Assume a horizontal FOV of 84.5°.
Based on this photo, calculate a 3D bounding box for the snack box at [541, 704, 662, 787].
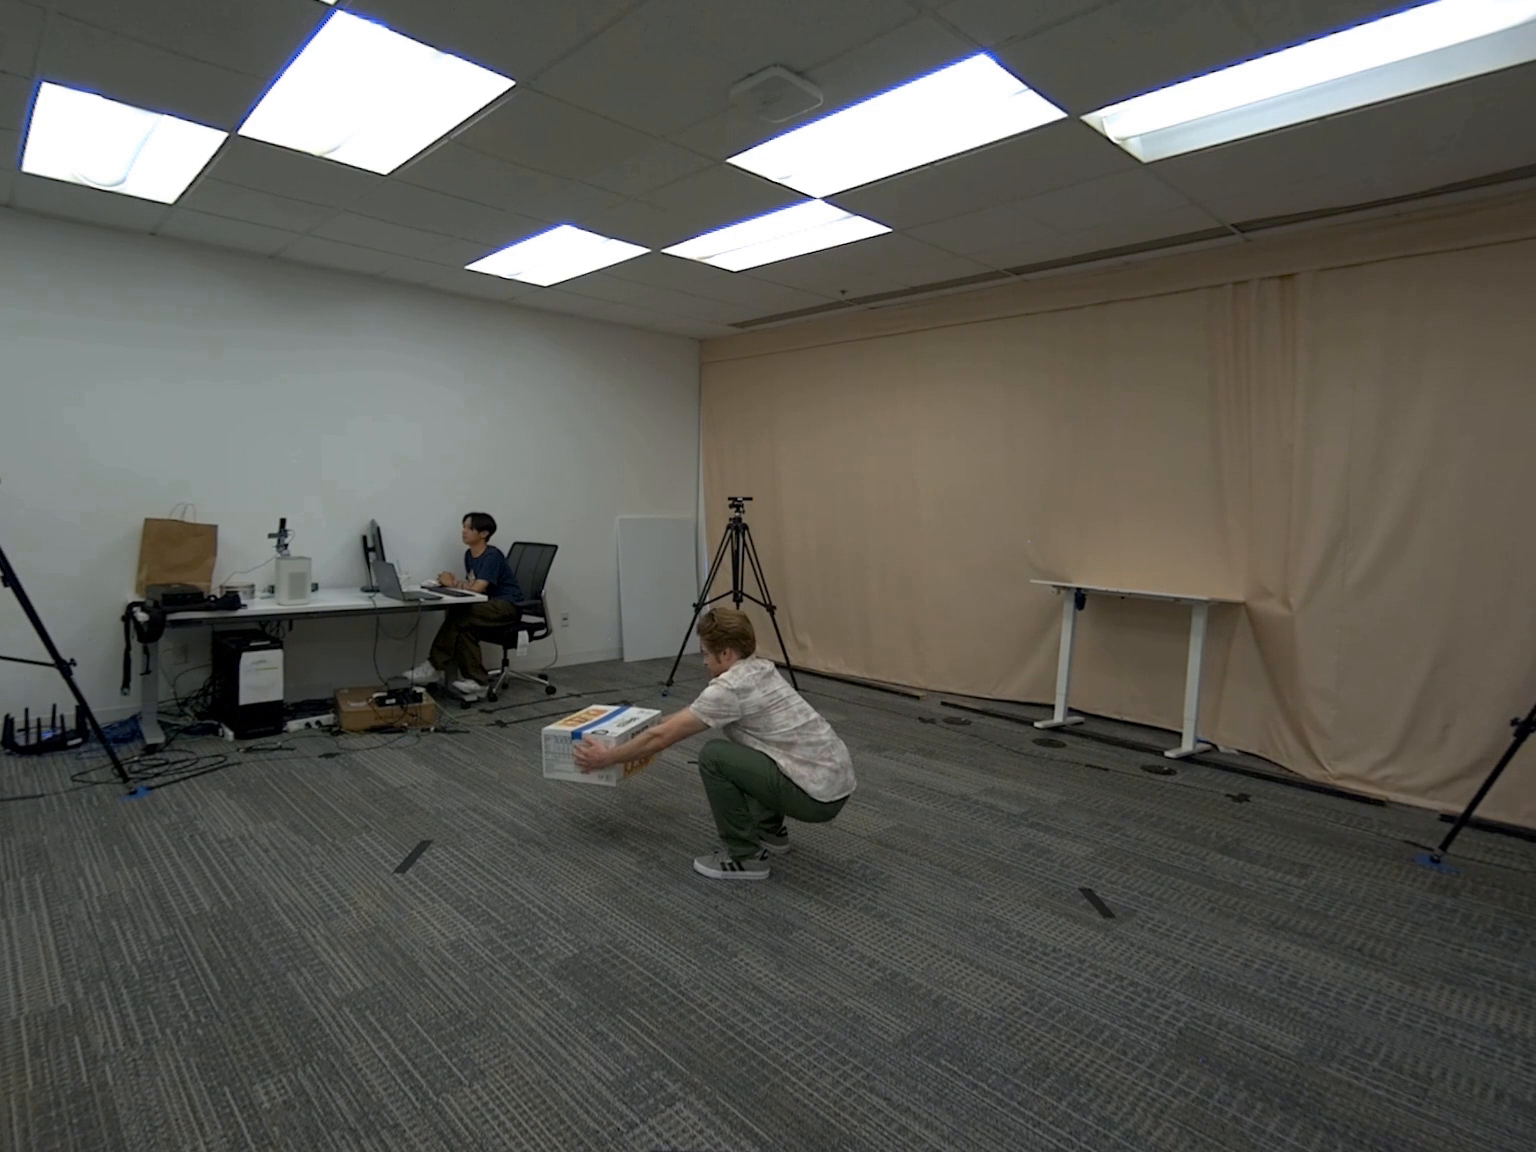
[{"bbox_3d":[-0.683,0.686,3.498,0.346,0.205,0.400,0,5,21],"label":"snack box"}]
